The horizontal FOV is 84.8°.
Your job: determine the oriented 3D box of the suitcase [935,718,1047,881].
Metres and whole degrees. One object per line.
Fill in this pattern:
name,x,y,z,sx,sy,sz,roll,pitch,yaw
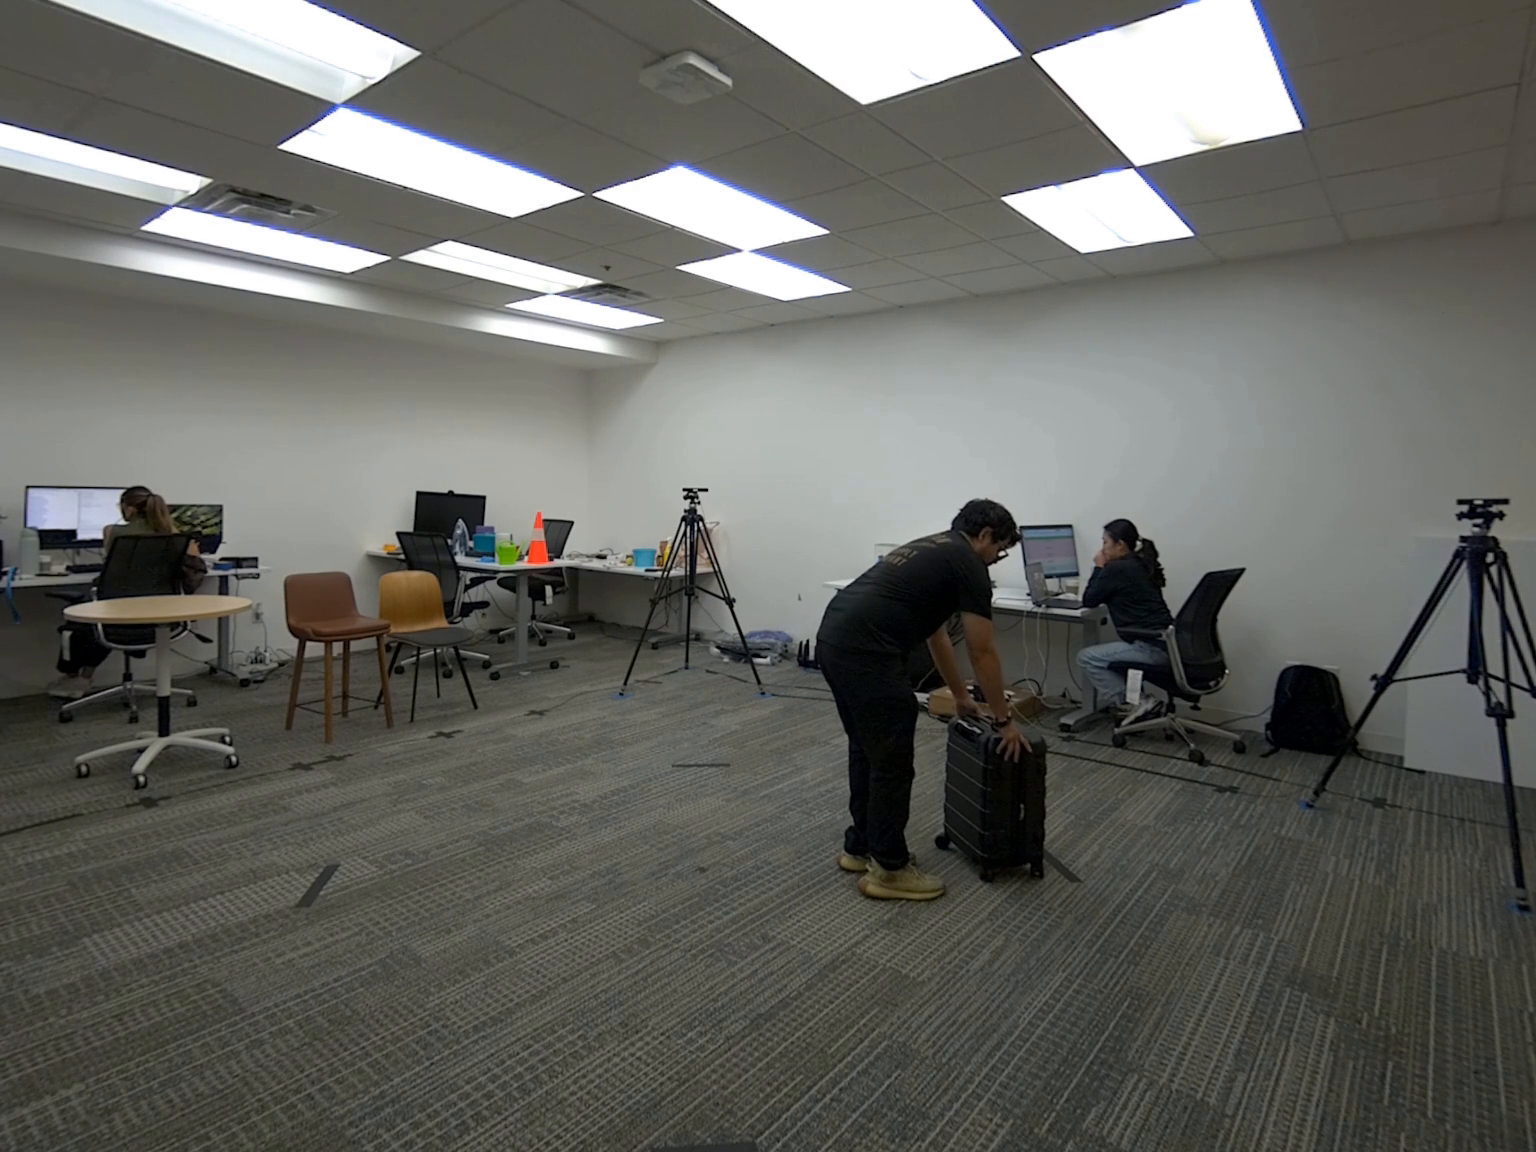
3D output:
suitcase,0.844,0.809,3.212,0.245,0.547,0.382,1,4,-13
